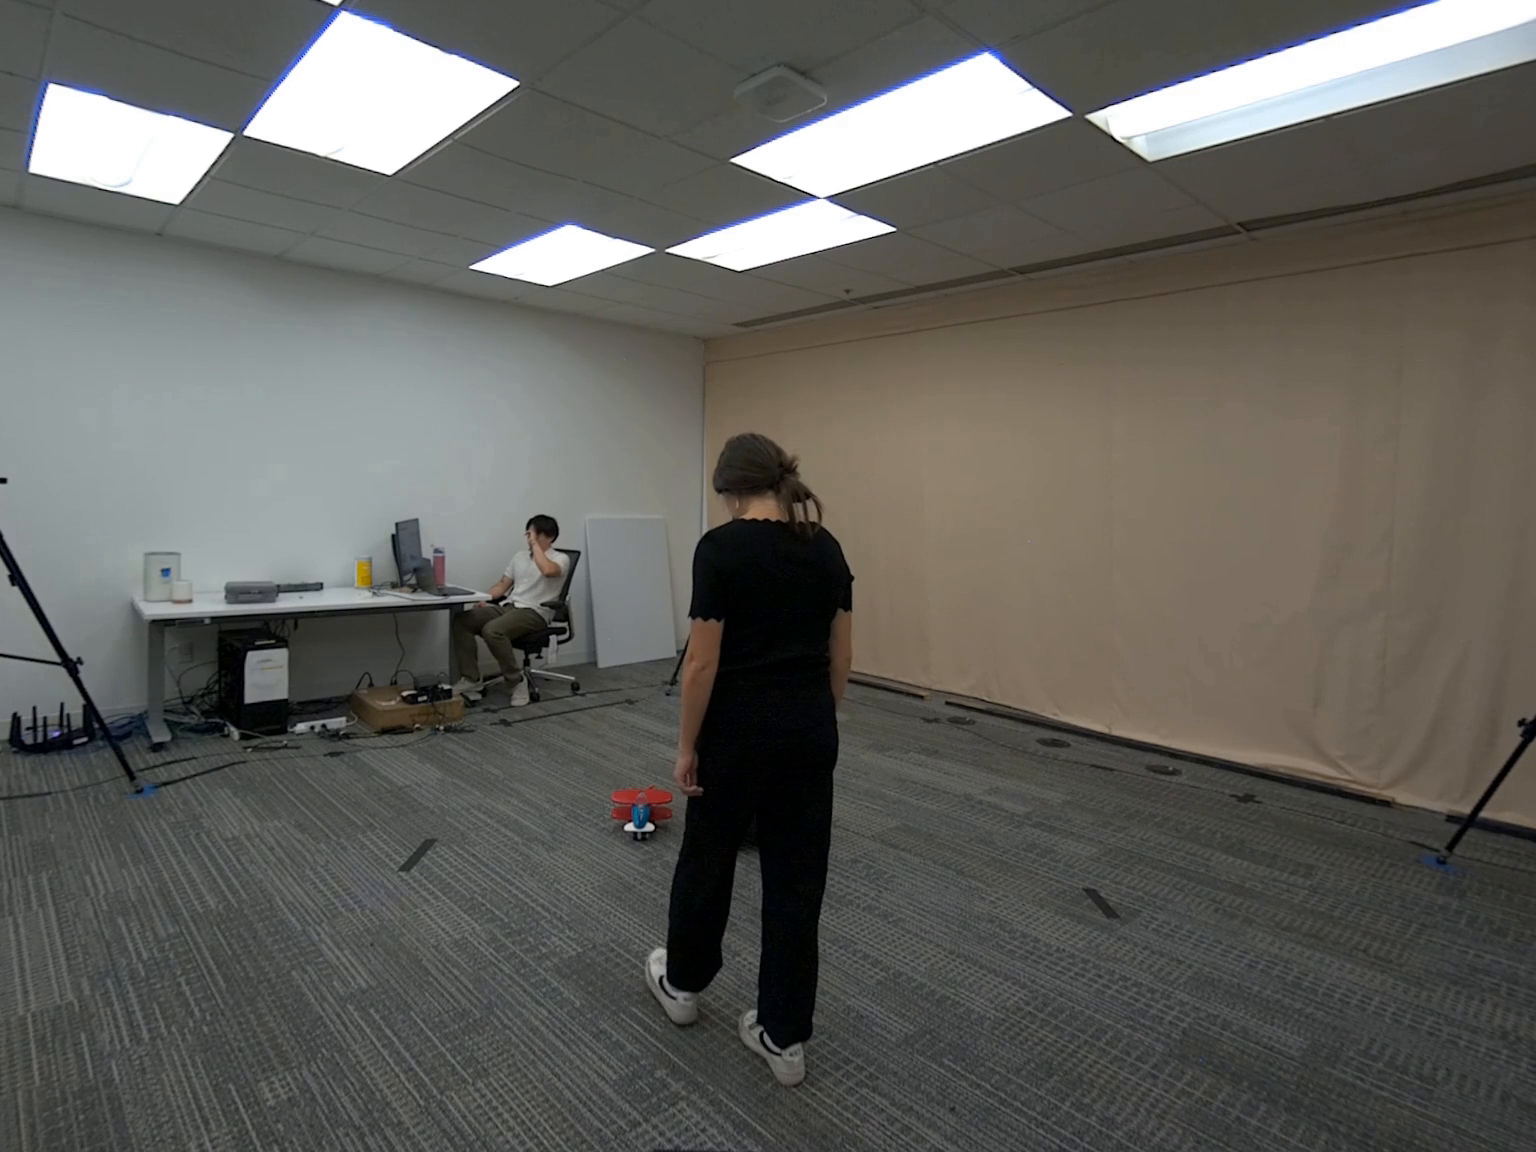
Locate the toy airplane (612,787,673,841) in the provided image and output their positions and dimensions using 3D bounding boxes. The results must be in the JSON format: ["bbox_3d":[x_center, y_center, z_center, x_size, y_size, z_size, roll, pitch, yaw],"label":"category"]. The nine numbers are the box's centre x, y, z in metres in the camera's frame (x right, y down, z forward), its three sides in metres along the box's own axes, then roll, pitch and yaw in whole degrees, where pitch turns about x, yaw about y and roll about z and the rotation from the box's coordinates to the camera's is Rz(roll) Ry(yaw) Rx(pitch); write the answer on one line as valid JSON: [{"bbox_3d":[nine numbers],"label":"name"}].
[{"bbox_3d":[-0.514,0.984,3.501,0.246,0.156,0.265,-1,4,-31],"label":"toy airplane"}]
